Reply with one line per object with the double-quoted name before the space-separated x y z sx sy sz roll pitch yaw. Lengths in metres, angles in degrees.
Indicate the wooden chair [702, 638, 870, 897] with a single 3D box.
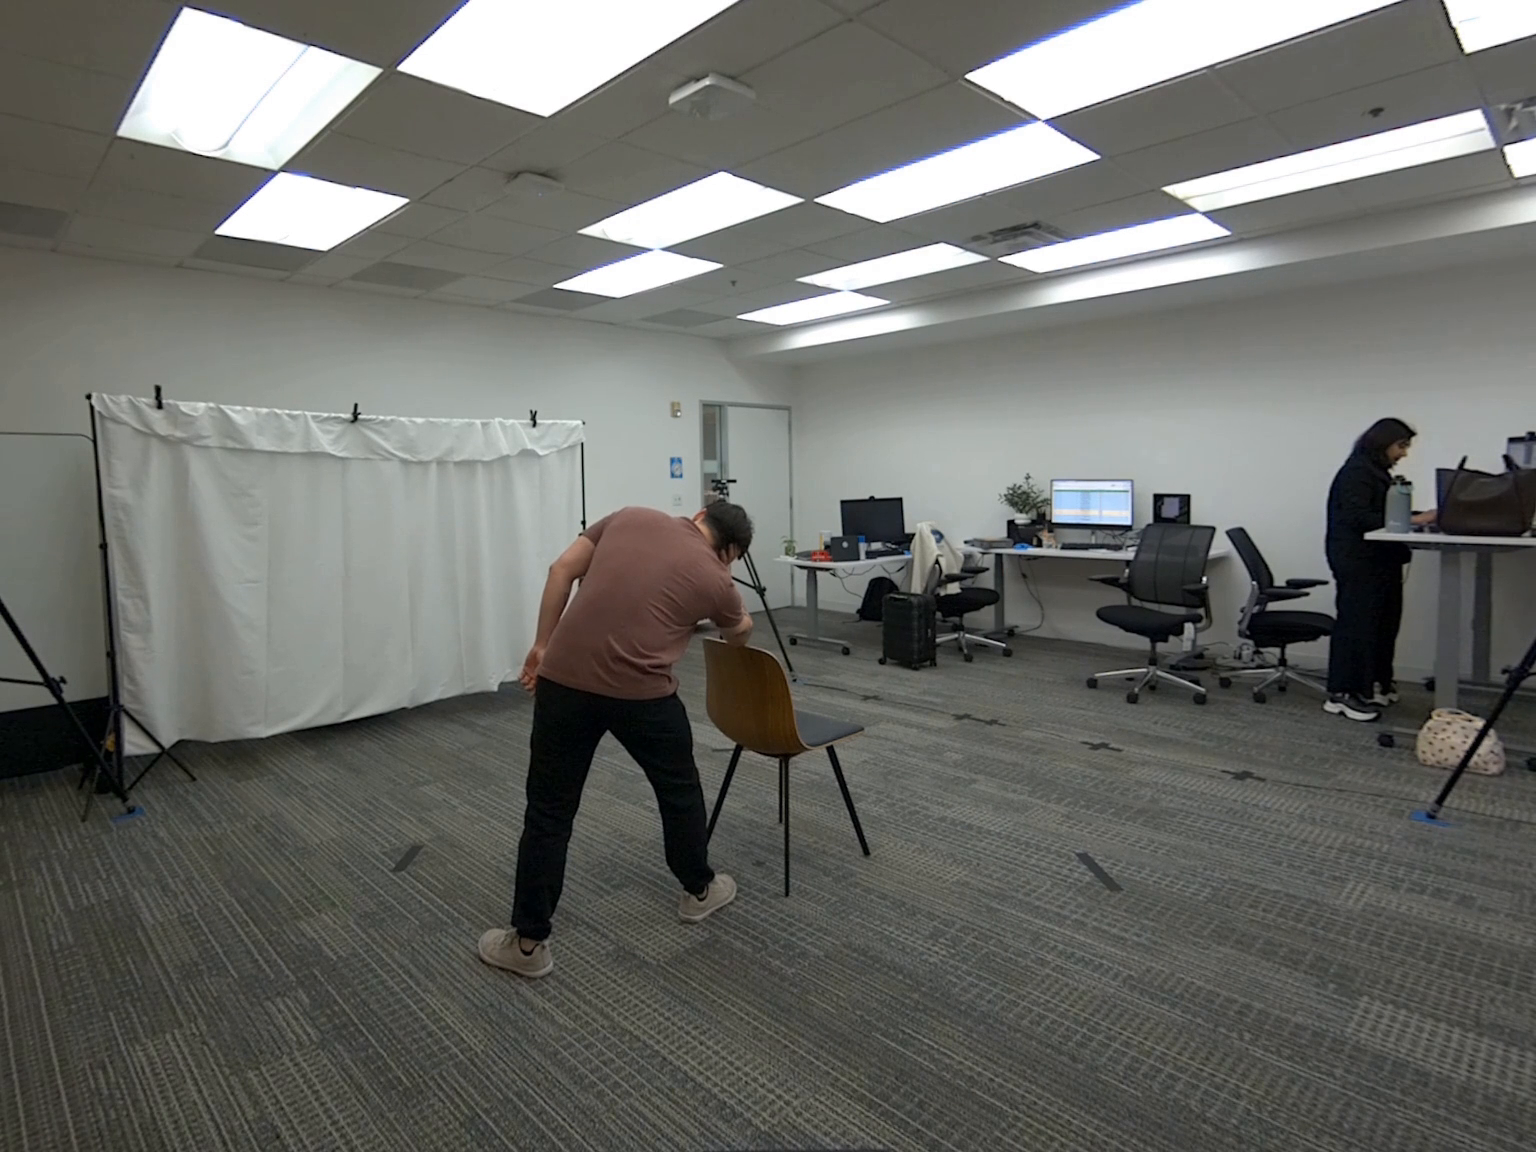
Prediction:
"wooden chair" 0.059 0.613 3.145 0.511 0.871 0.493 -11 10 -44
